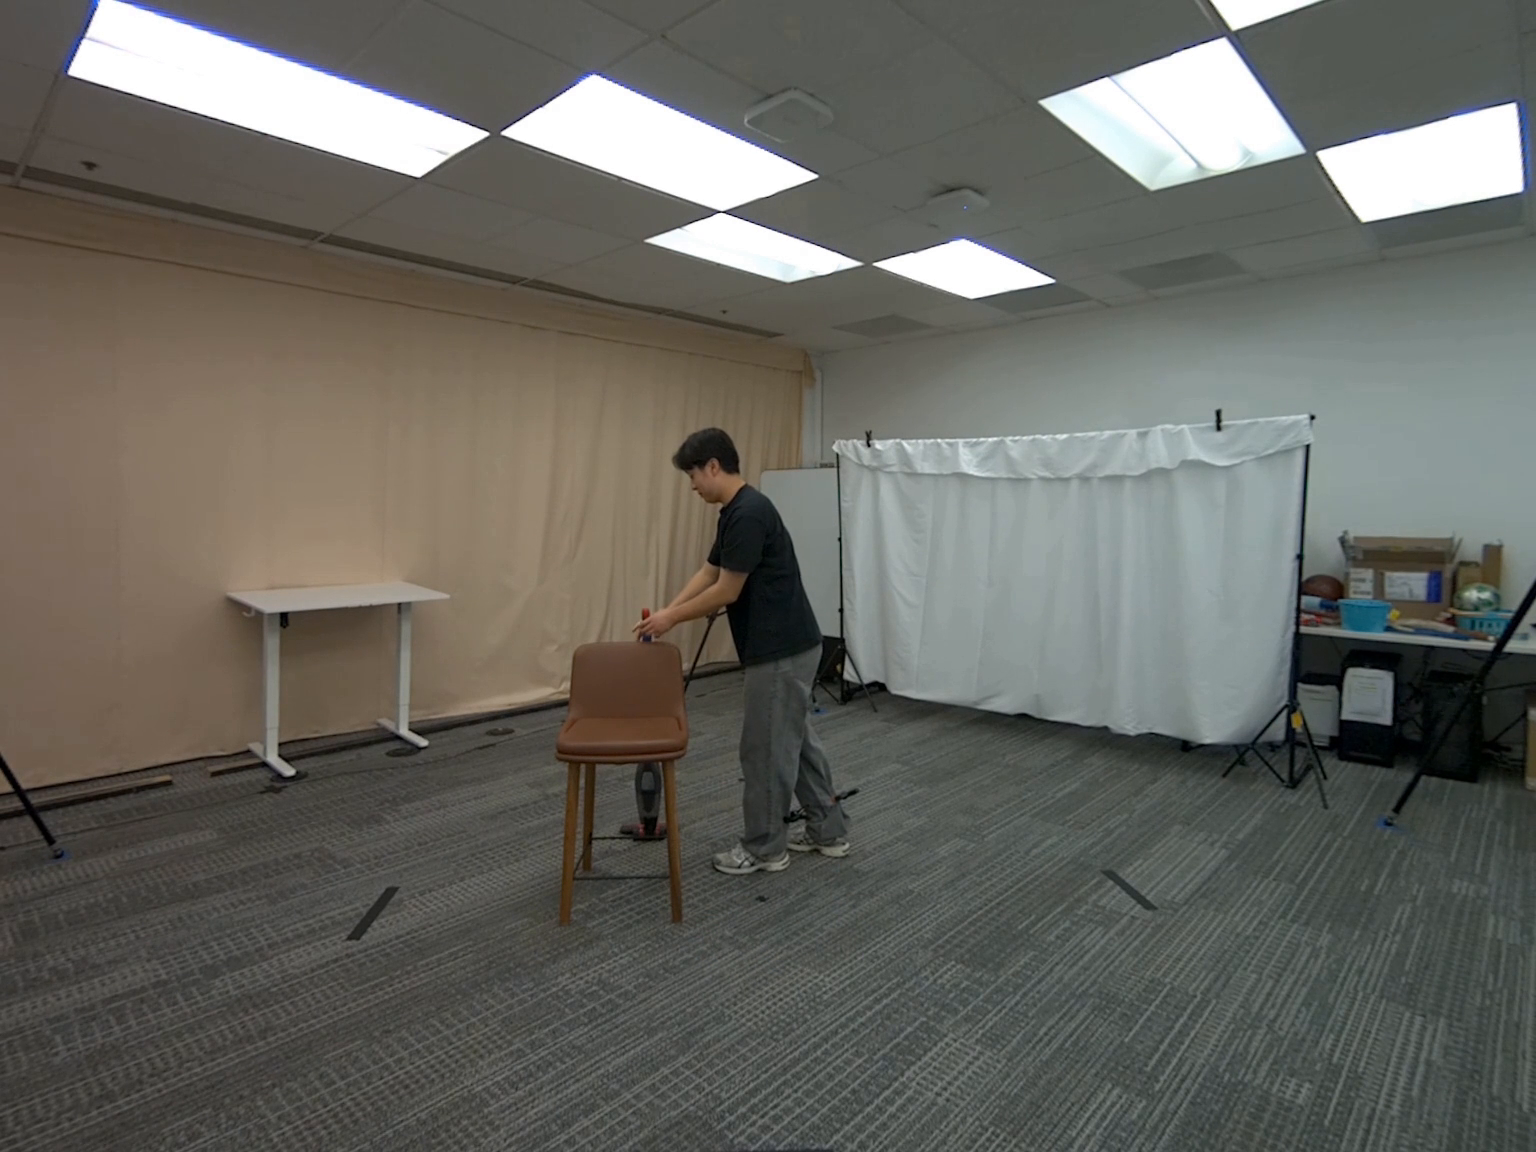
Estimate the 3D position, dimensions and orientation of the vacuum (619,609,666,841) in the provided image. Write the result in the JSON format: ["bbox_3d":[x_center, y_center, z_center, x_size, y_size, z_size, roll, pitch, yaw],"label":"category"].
[{"bbox_3d":[-0.481,0.612,3.403,0.249,1.038,0.148,-2,20,-15],"label":"vacuum"}]
